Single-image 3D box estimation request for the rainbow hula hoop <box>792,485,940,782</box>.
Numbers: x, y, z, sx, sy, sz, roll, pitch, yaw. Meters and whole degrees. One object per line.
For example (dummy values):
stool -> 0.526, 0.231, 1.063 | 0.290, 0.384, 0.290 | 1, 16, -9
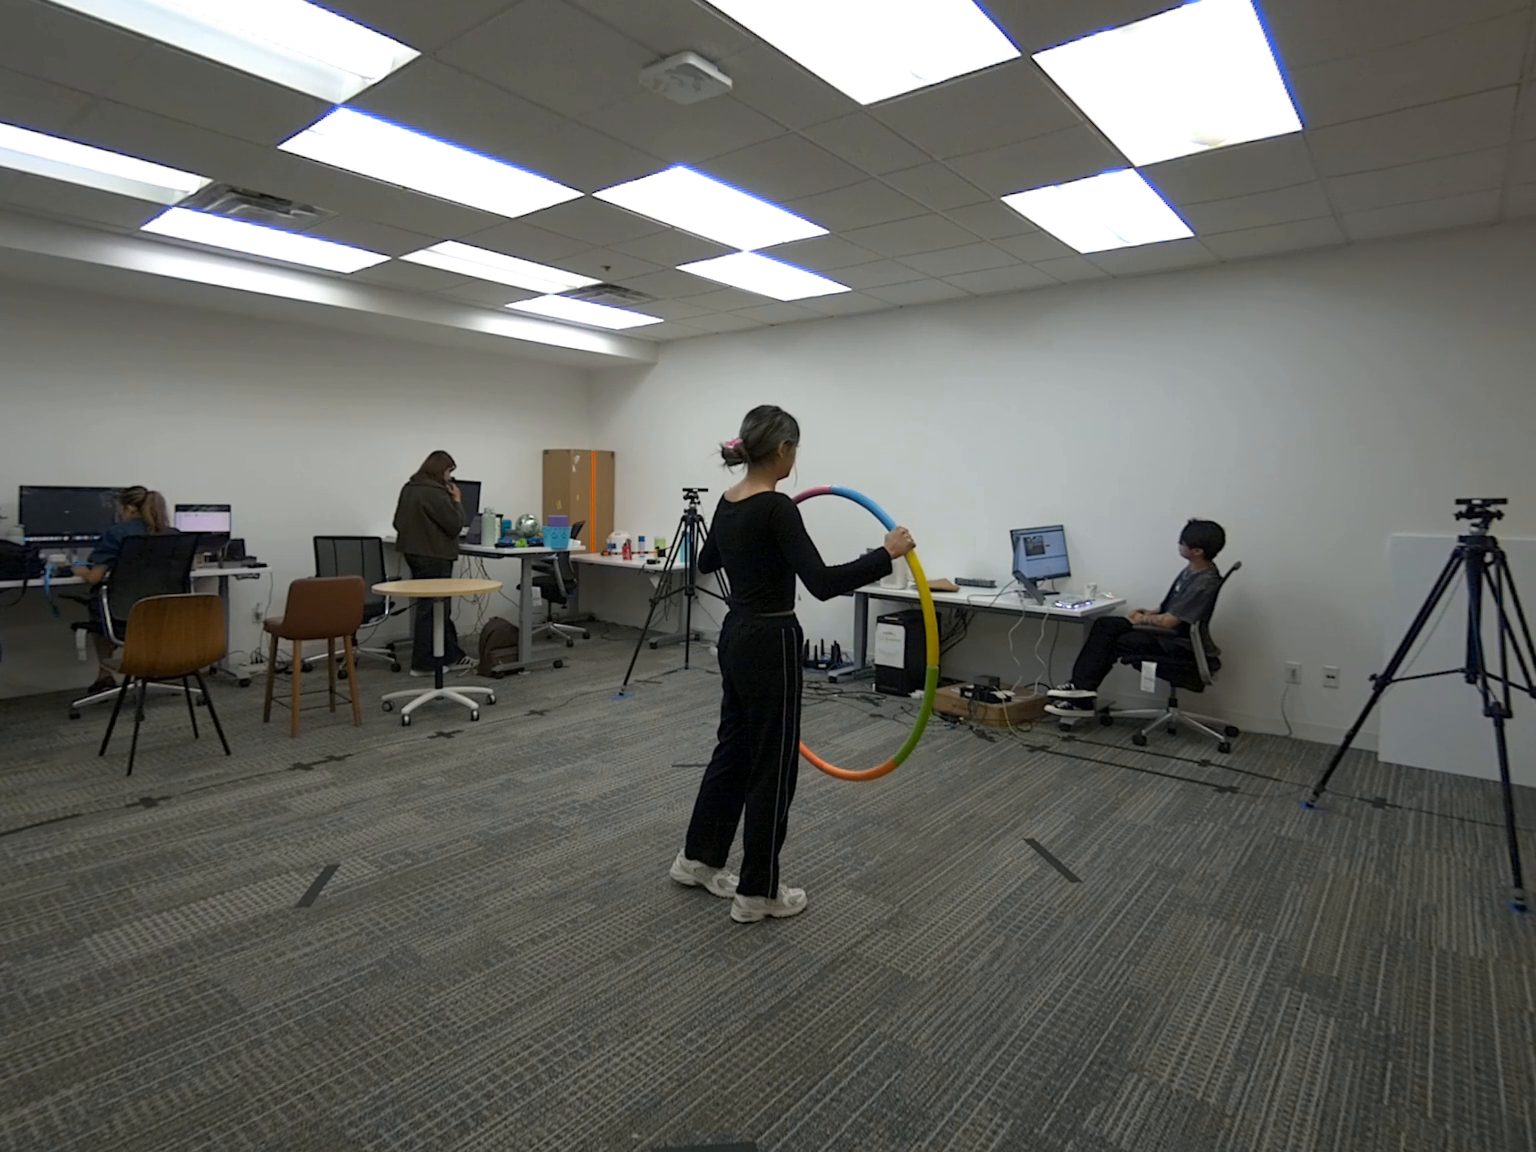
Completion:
rainbow hula hoop -> 0.194, 0.188, 2.889 | 0.034, 0.974, 1.010 | -5, 6, -33
